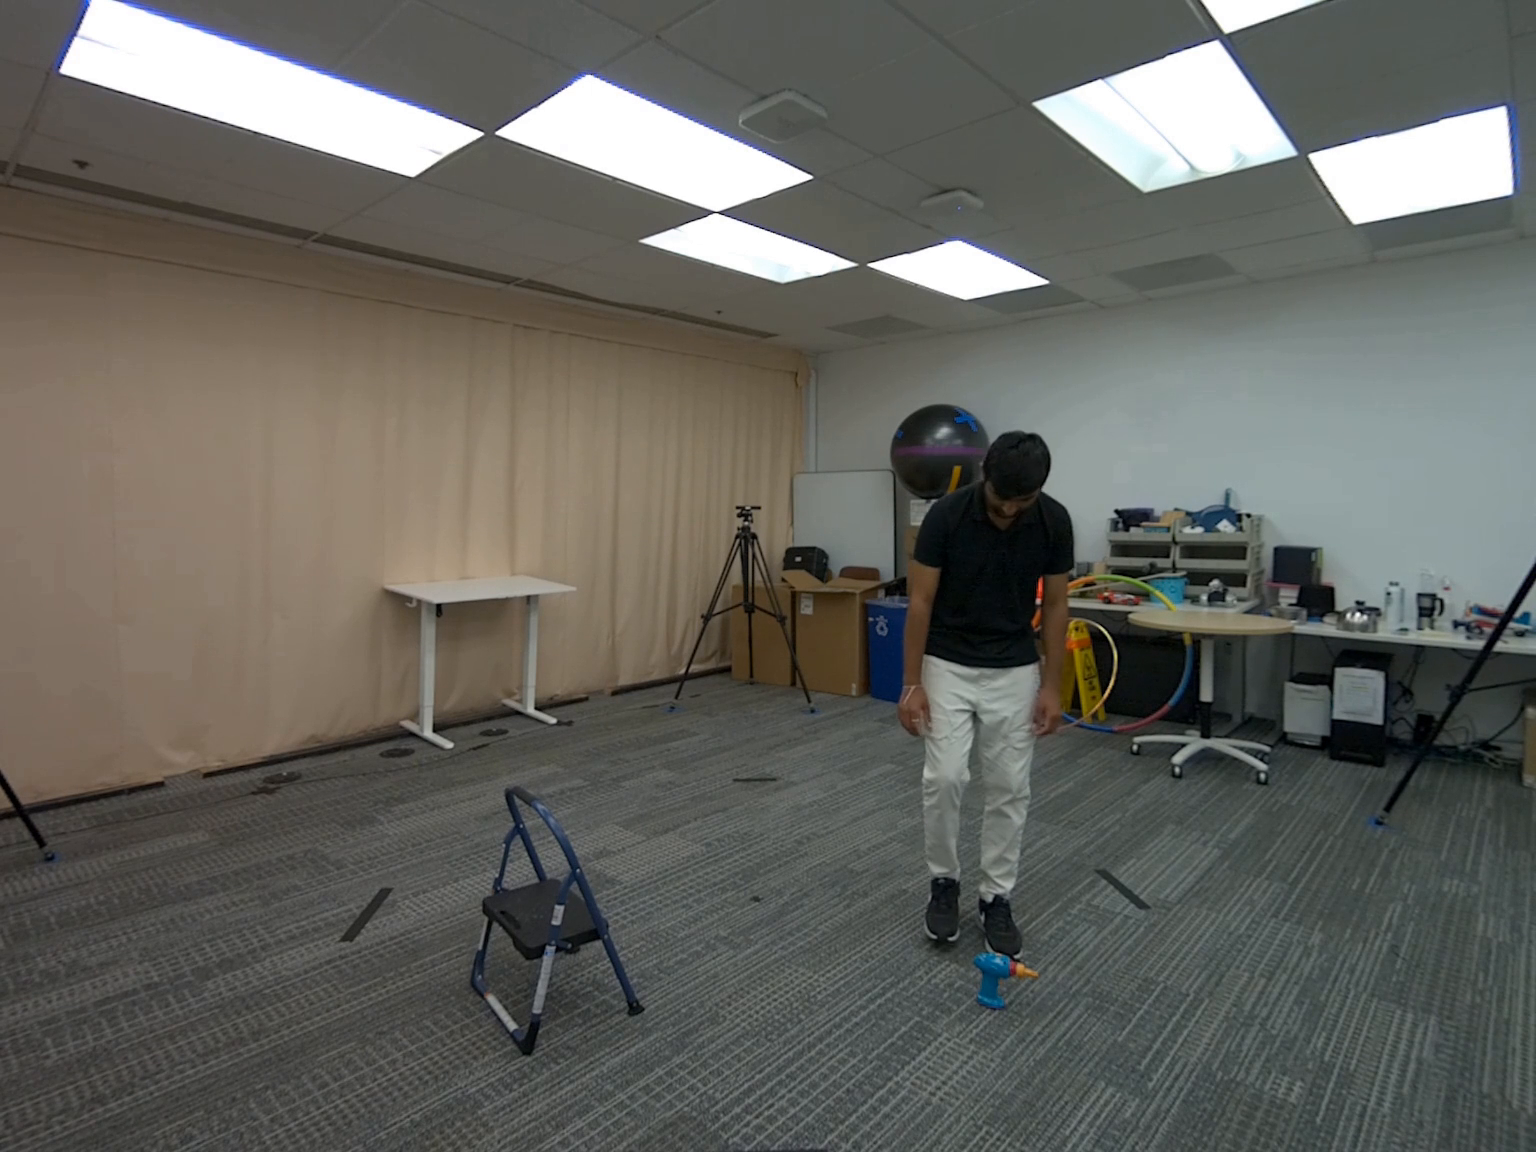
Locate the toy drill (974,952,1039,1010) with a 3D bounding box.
[{"bbox_3d":[0.661,1.120,2.338,0.173,0.146,0.060,1,0,20],"label":"toy drill"}]
